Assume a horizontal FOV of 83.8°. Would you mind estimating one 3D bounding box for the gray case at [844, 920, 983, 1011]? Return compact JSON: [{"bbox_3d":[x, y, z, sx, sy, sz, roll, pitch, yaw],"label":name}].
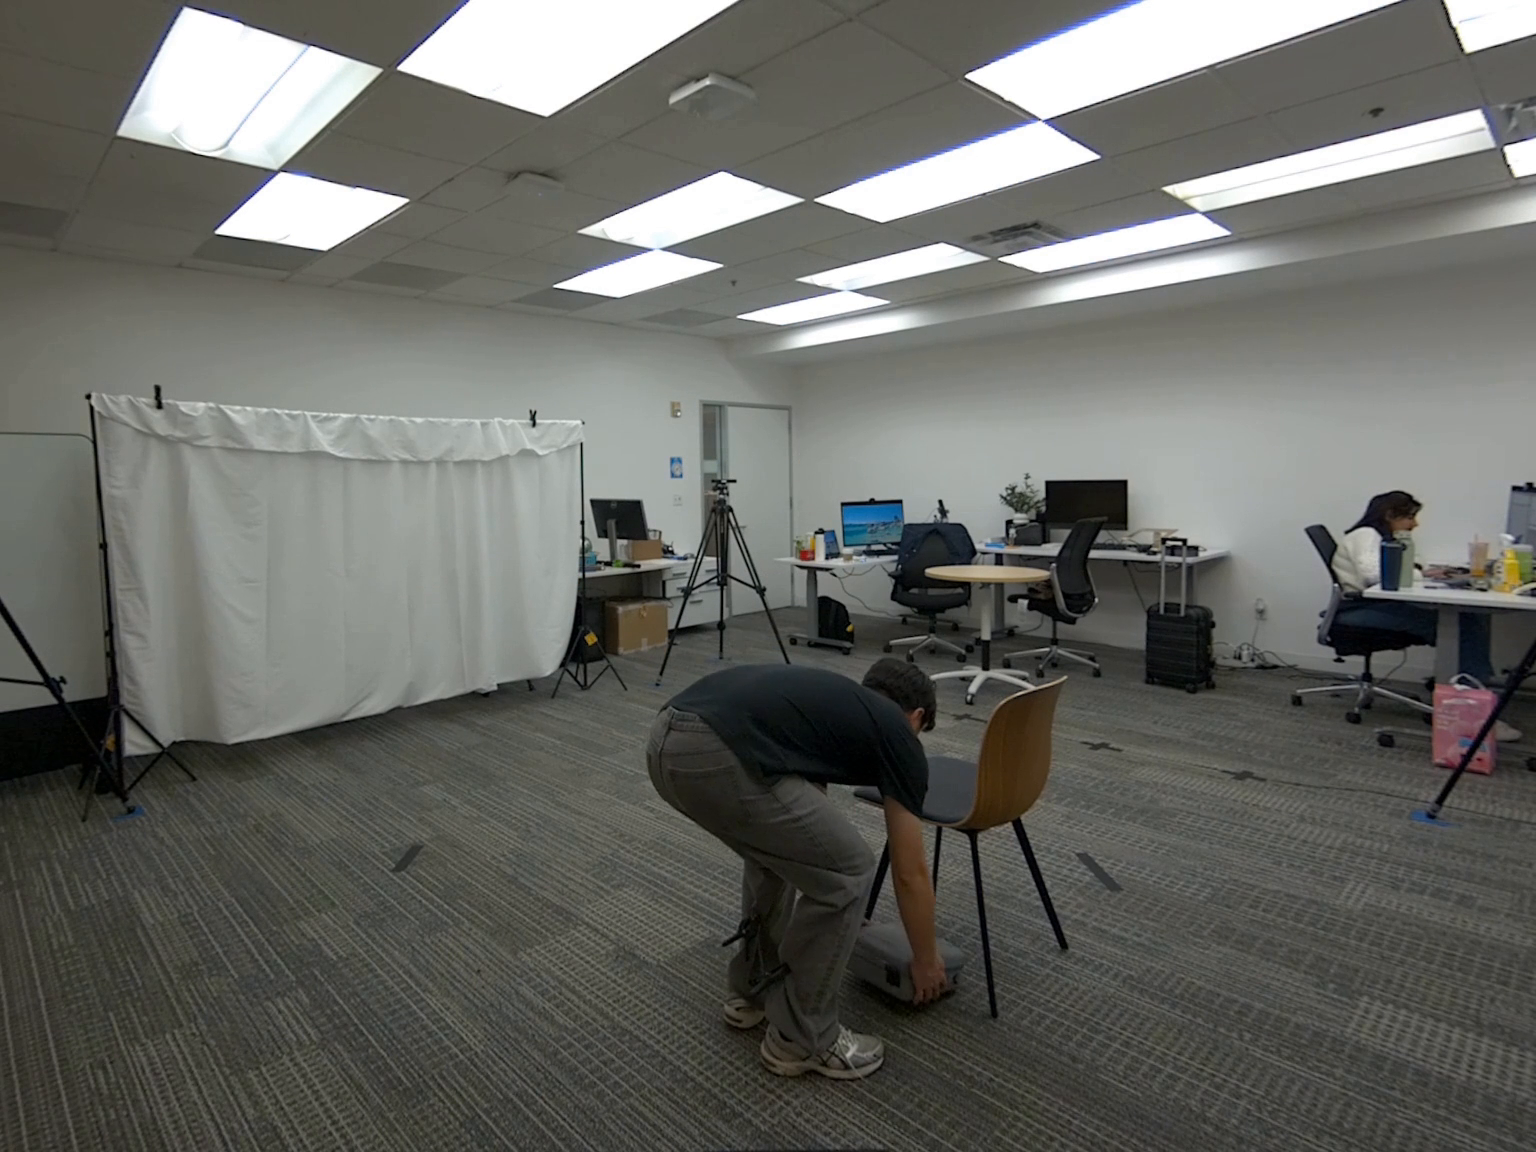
[{"bbox_3d":[0.383,1.048,2.334,0.278,0.103,0.270,9,-6,-39],"label":"gray case"}]
